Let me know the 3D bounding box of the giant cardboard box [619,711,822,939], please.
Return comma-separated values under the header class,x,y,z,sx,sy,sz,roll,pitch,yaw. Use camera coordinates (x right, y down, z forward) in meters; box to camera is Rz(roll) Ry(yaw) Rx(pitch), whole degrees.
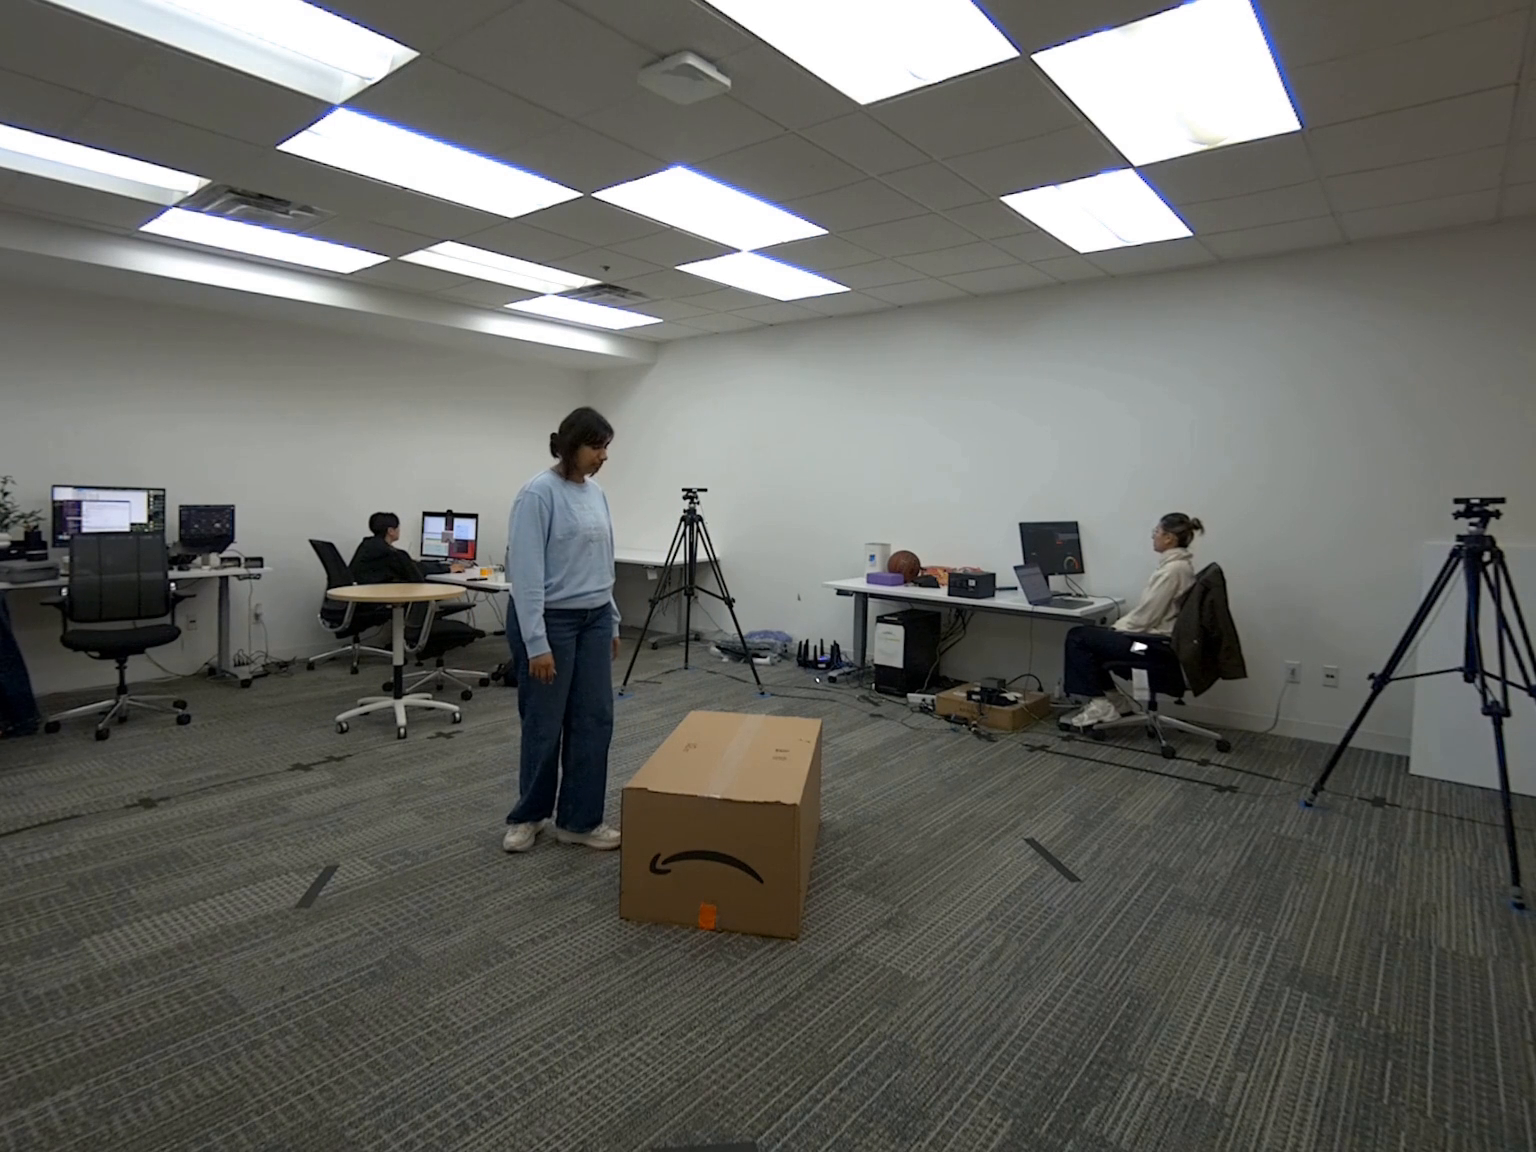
class,x,y,z,sx,sy,sz,roll,pitch,yaw
giant cardboard box,-0.133,0.849,3.161,0.584,0.425,1.018,2,5,9
